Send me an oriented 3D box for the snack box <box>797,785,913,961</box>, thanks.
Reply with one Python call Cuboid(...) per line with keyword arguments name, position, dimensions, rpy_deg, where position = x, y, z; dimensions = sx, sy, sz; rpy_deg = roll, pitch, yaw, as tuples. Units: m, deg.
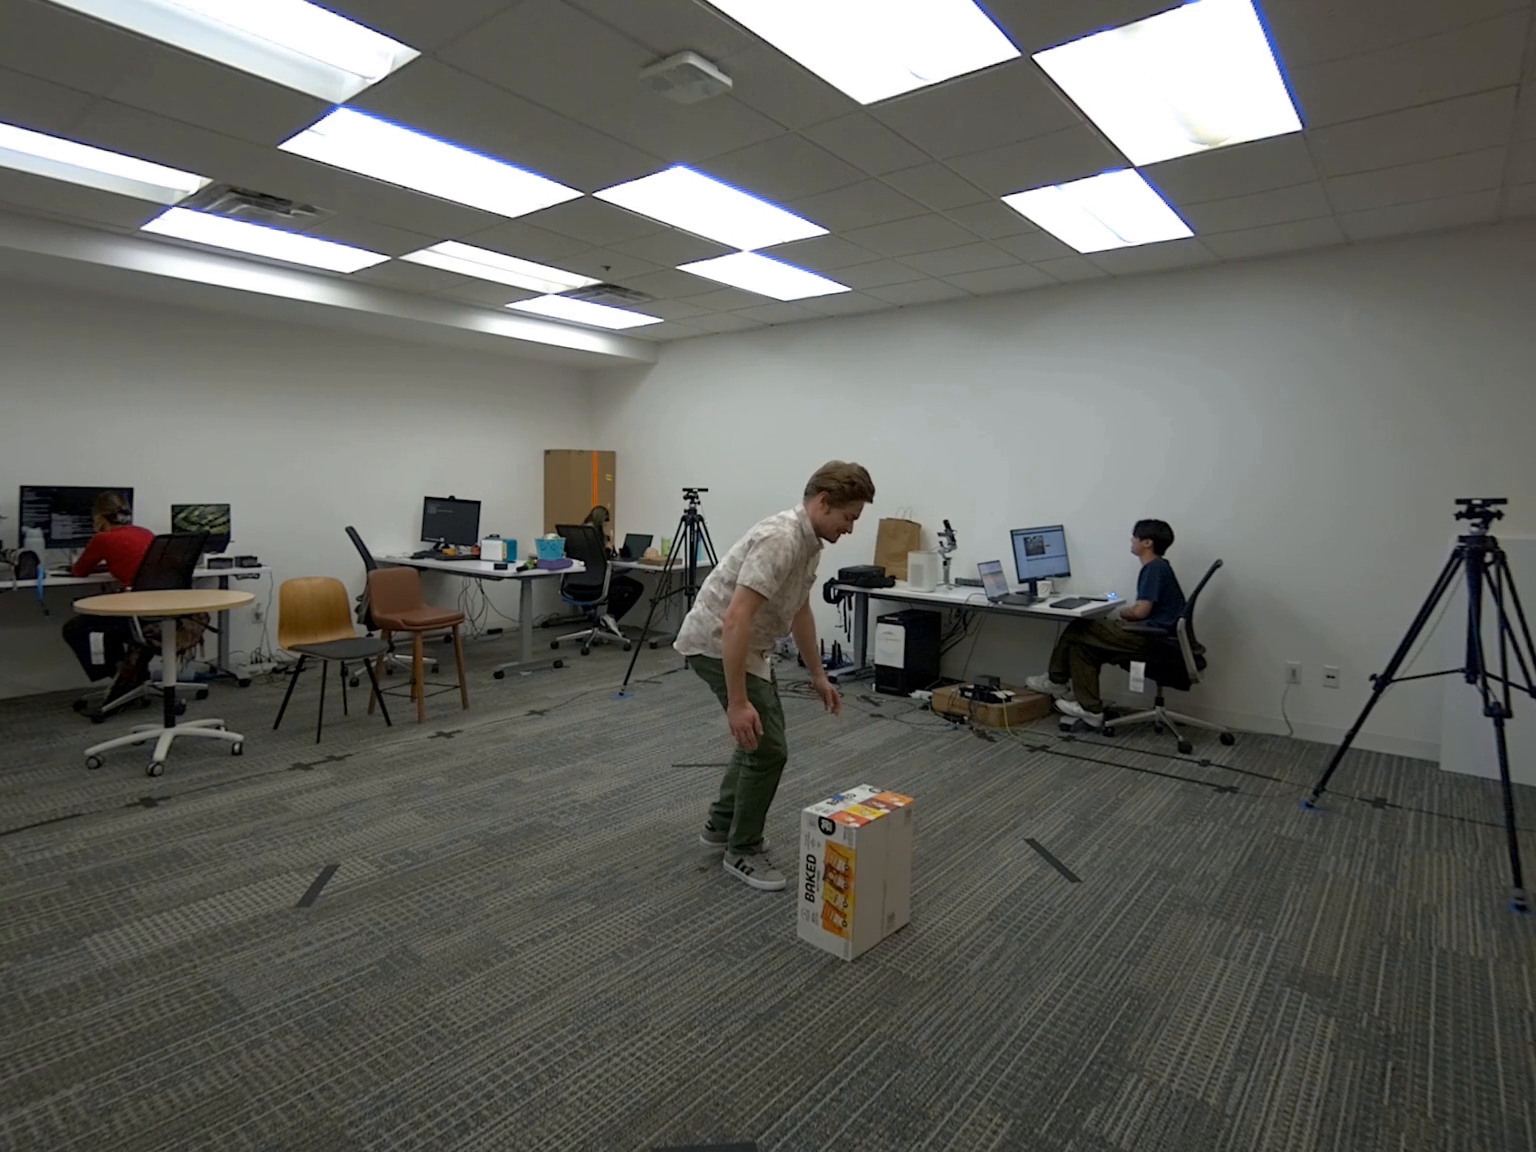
Cuboid(name="snack box", position=(0.279, 0.919, 2.690), dimensions=(0.212, 0.404, 0.330), rpy_deg=(4, 4, 42))
